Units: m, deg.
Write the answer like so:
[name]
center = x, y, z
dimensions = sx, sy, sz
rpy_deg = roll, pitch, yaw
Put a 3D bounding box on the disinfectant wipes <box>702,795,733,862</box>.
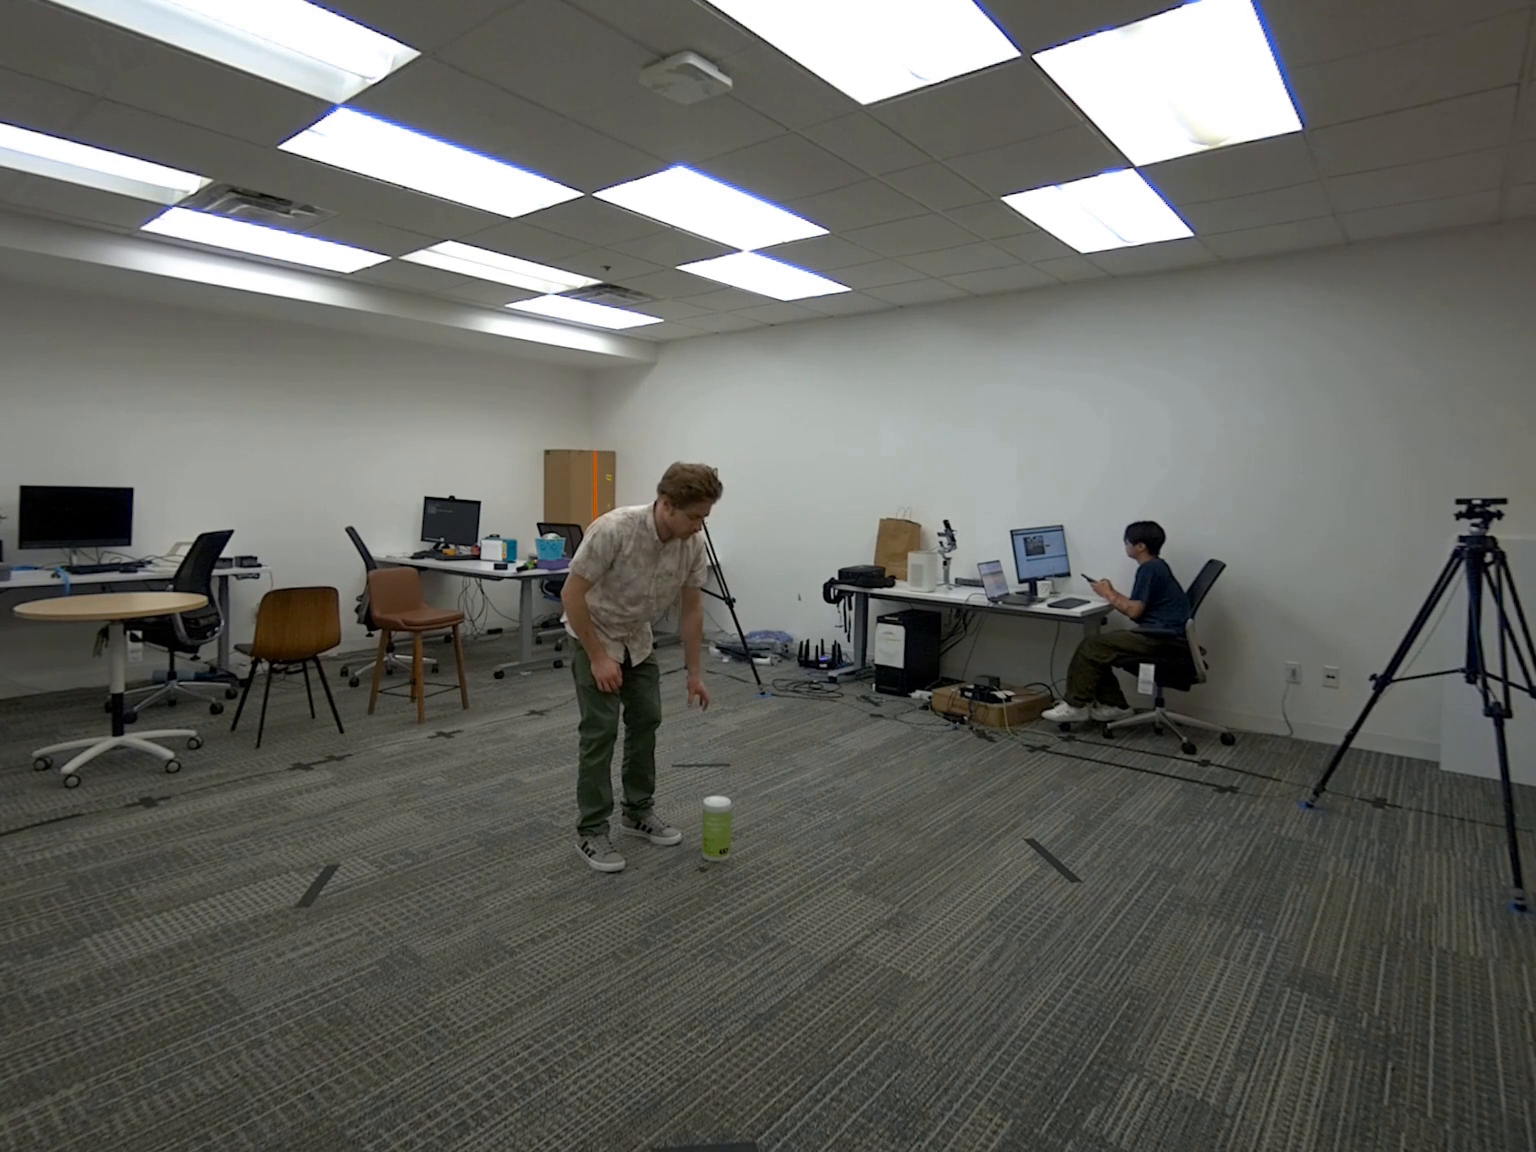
[disinfectant wipes]
center = -0.208, 0.957, 3.214
dimensions = 0.117, 0.217, 0.118
rpy_deg = 3, 4, -2
